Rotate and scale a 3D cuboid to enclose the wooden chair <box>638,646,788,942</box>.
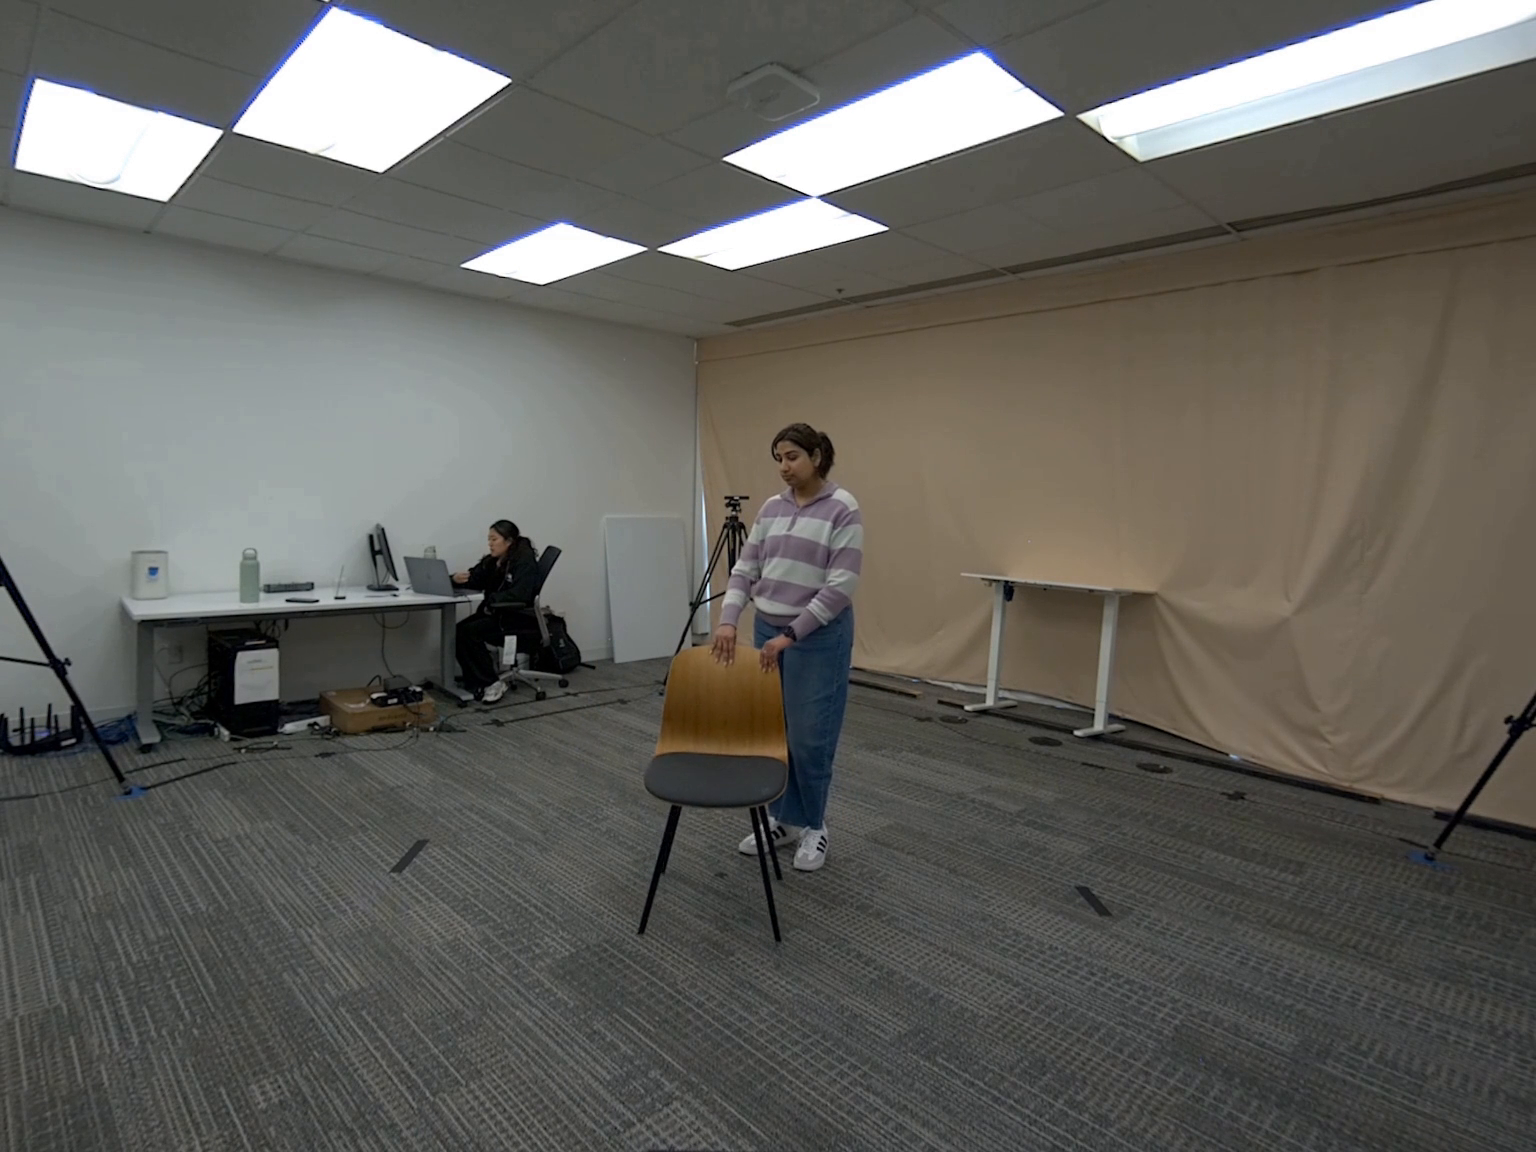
[{"bbox_3d":[-0.170,0.698,2.837,0.479,0.878,0.522,2,-1,1],"label":"wooden chair"}]
